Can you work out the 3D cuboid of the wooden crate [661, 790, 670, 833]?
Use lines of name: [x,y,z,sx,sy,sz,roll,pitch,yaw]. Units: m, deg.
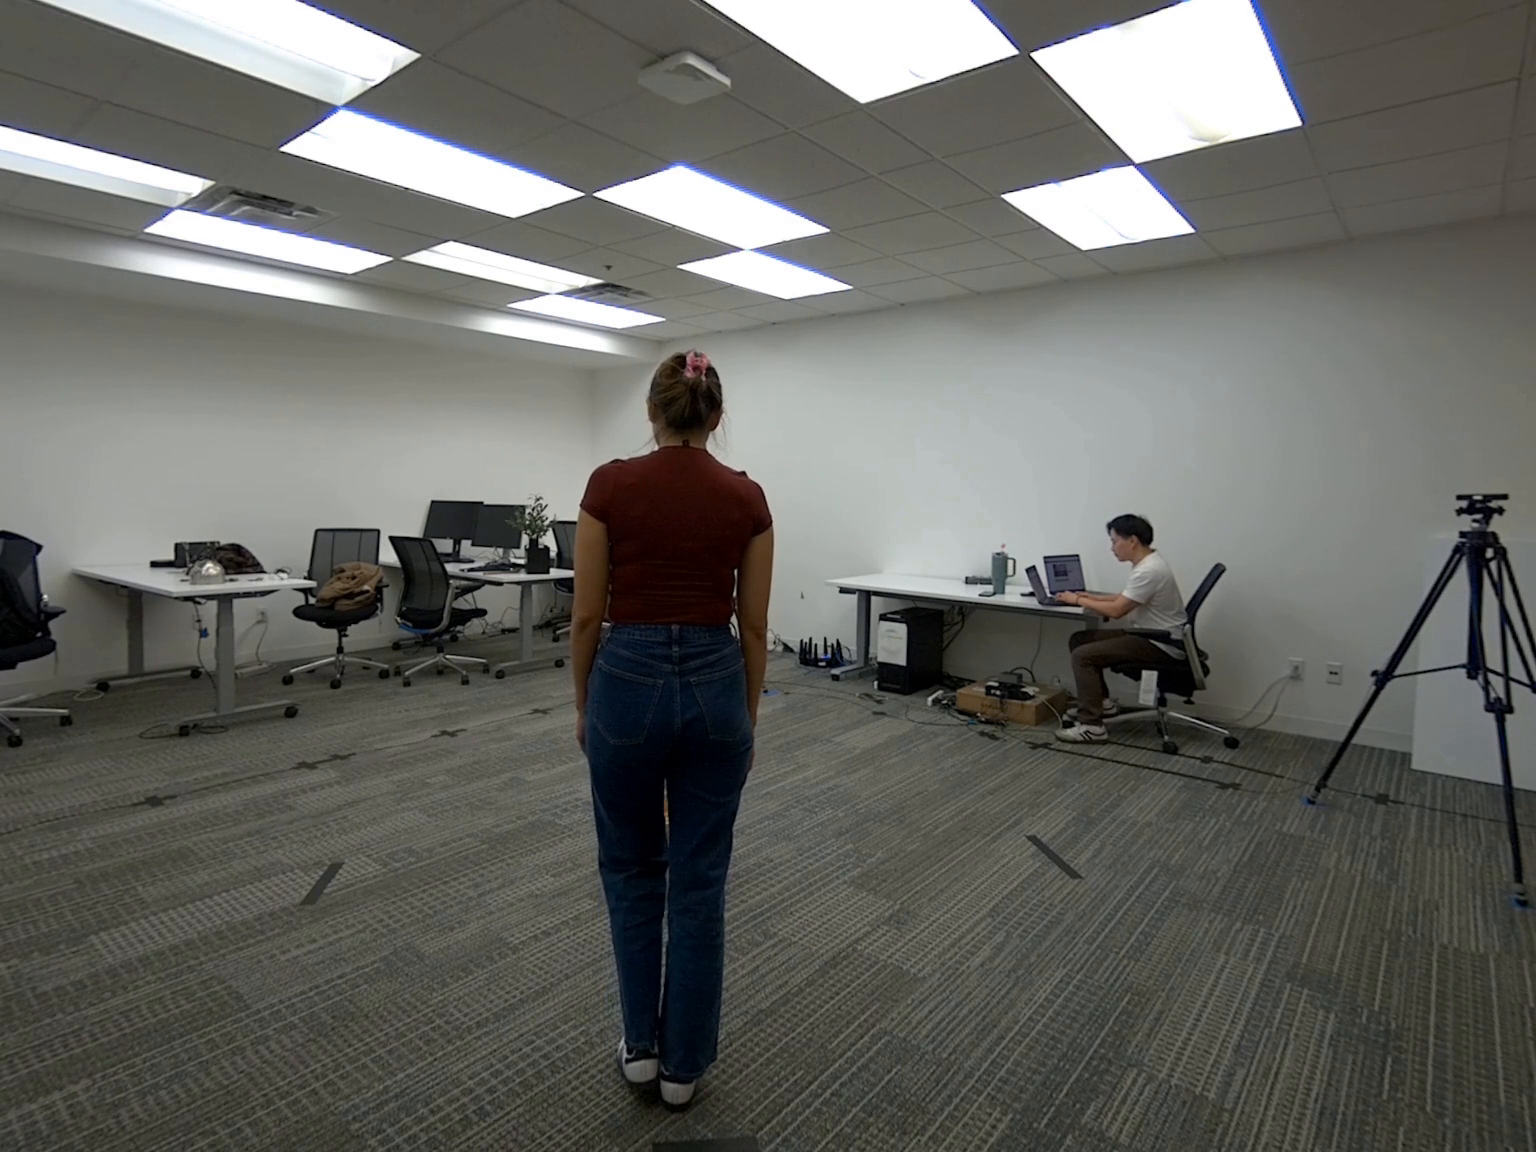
wooden crate: [-0.408,0.935,2.986,0.296,0.272,0.332,-1,4,-19]
